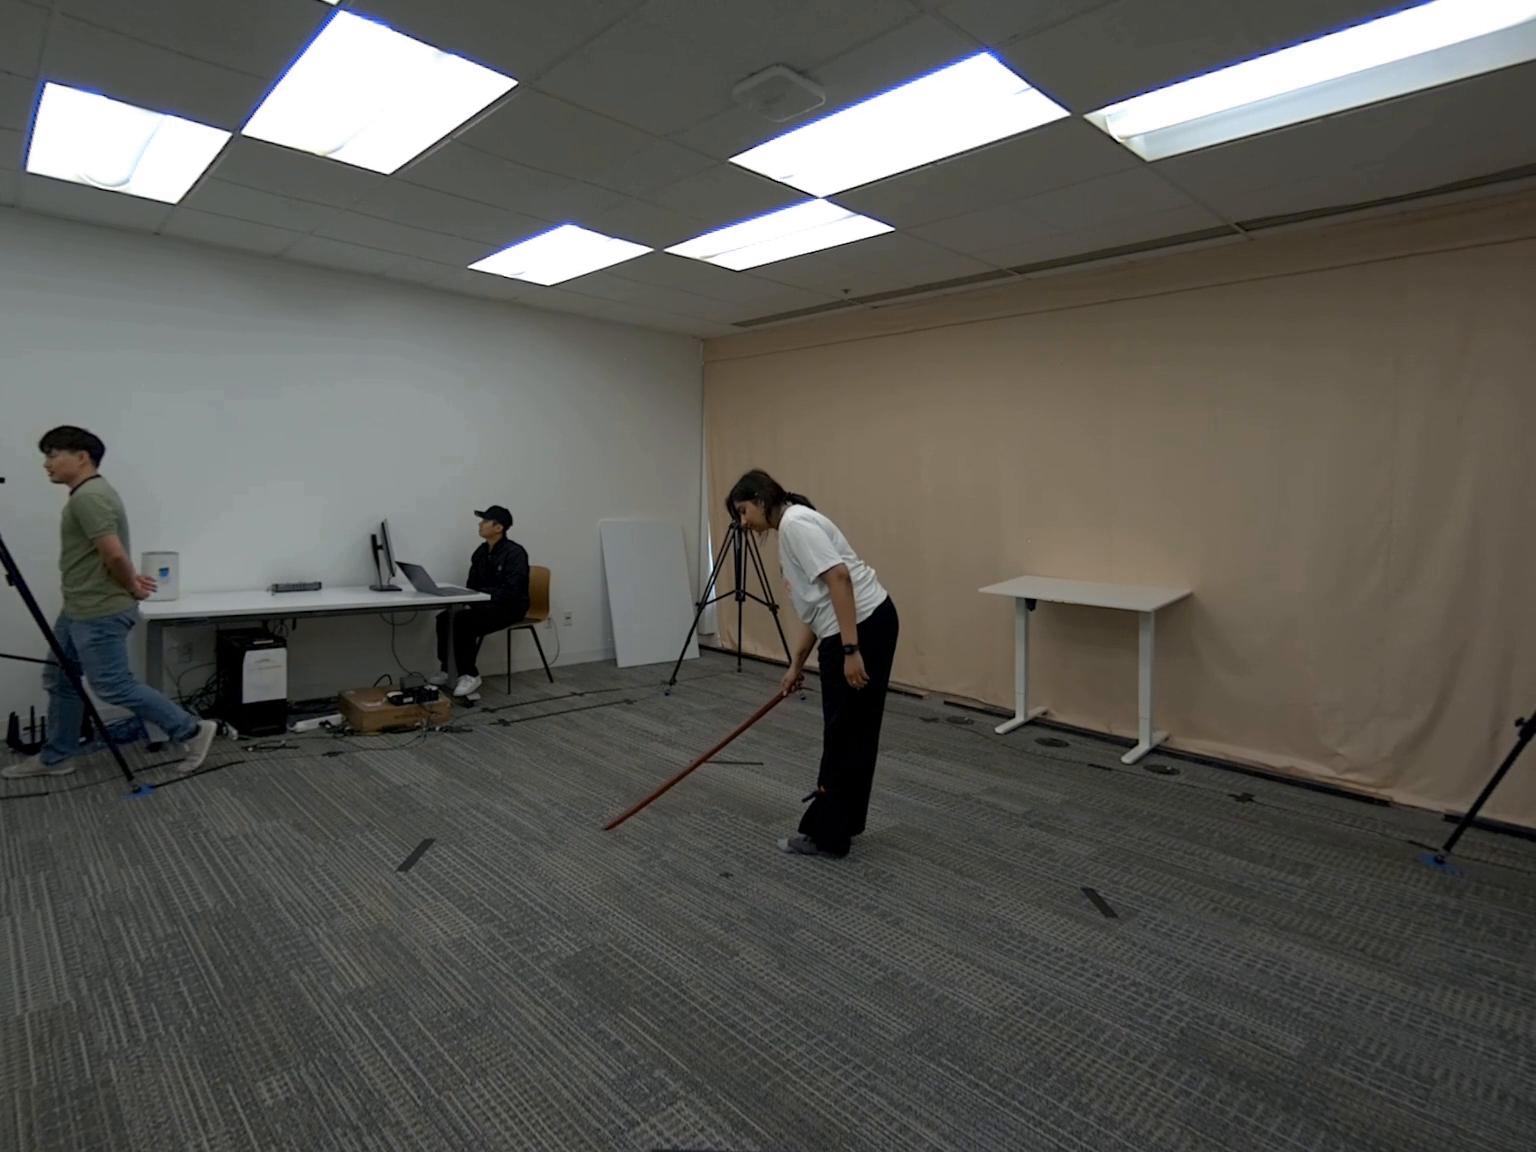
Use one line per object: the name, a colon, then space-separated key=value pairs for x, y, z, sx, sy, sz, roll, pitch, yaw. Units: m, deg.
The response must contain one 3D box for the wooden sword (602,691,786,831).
wooden sword: x=-0.264 y=0.714 z=3.454 sx=1.022 sy=0.024 sz=0.051 roll=-36 pitch=4 yaw=-13
